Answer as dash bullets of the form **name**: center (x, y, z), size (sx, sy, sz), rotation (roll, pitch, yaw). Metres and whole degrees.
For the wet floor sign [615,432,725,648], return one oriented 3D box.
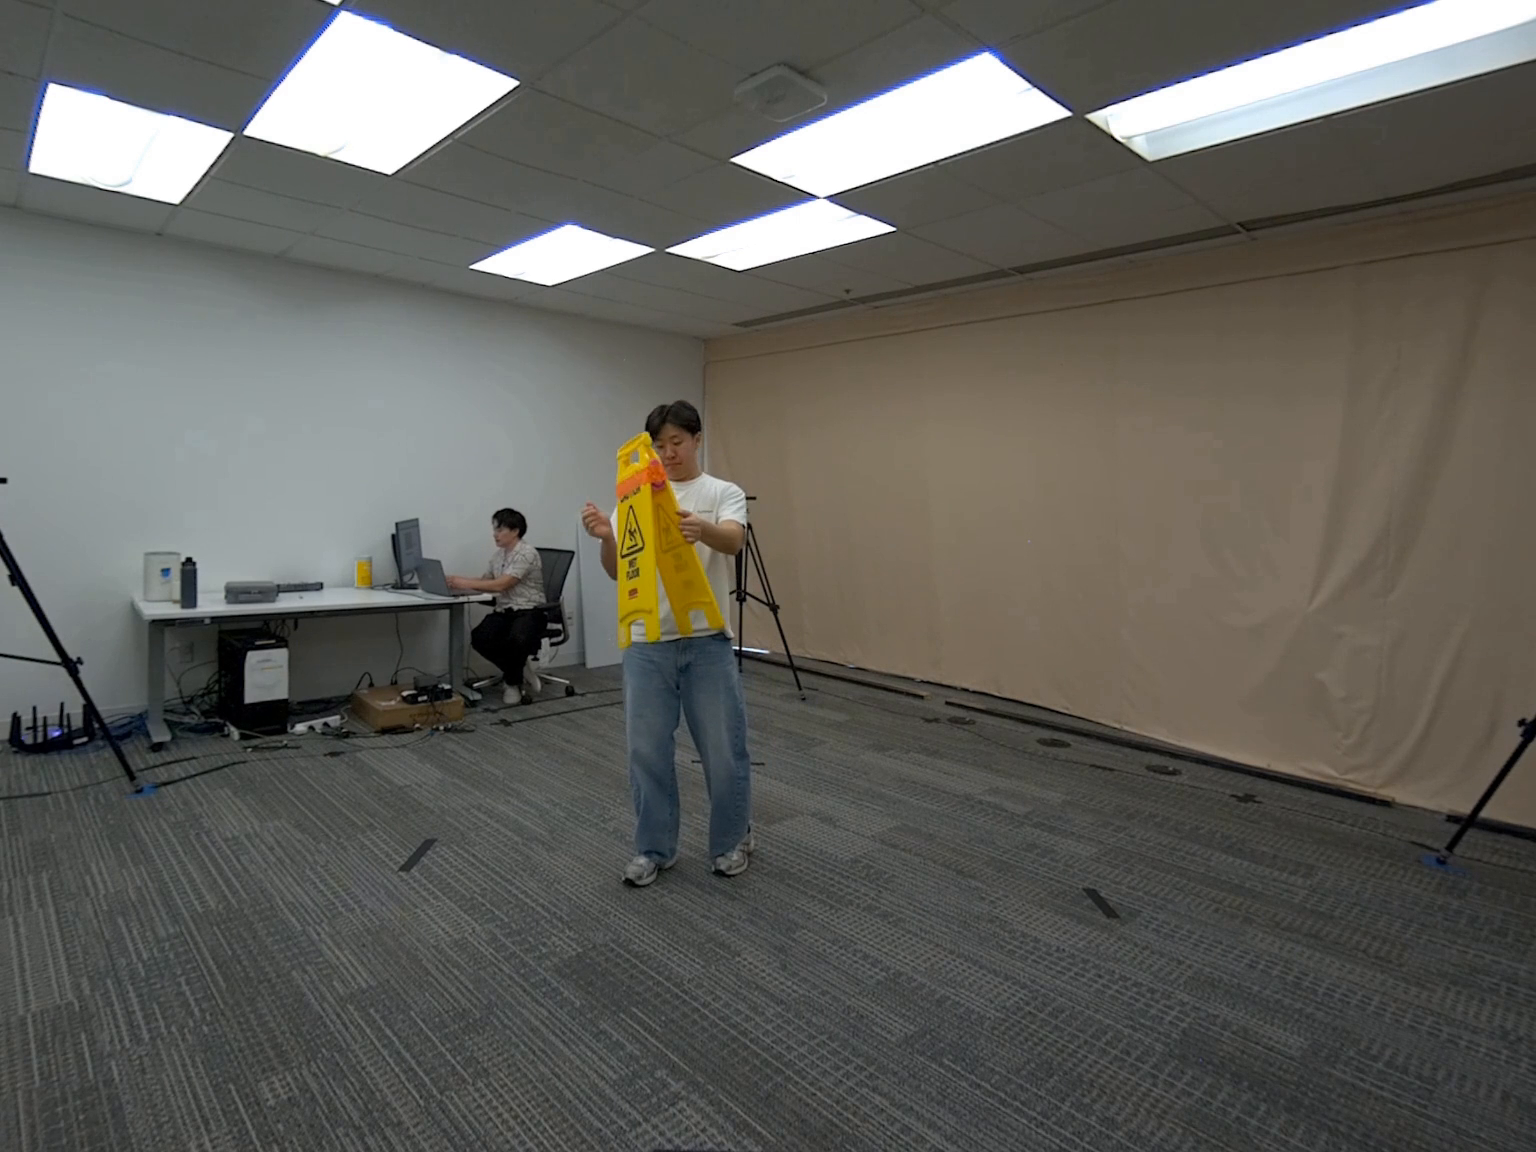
- **wet floor sign**: center (-0.380, -0.121, 2.686), size (0.284, 0.649, 0.286), rotation (-7, -6, -34)
